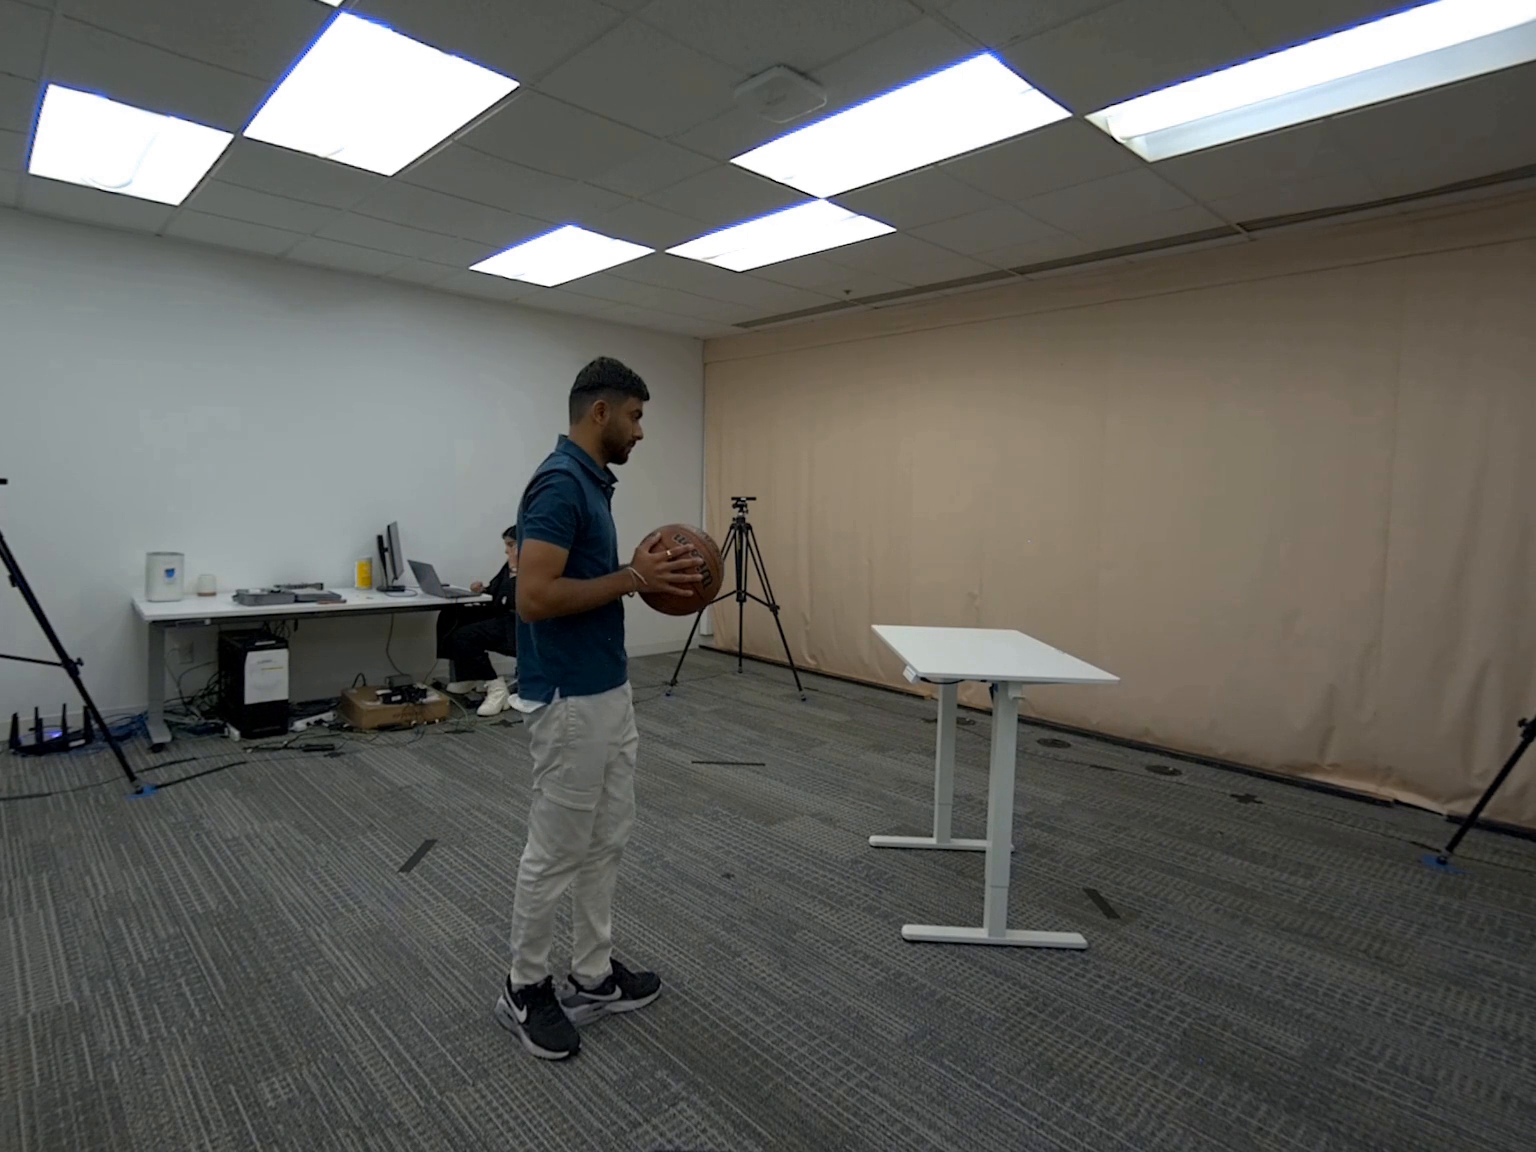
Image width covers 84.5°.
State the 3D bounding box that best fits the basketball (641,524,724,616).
[{"bbox_3d":[-0.238,-0.016,2.171,0.236,0.235,0.237,1,4,-1],"label":"basketball"}]
